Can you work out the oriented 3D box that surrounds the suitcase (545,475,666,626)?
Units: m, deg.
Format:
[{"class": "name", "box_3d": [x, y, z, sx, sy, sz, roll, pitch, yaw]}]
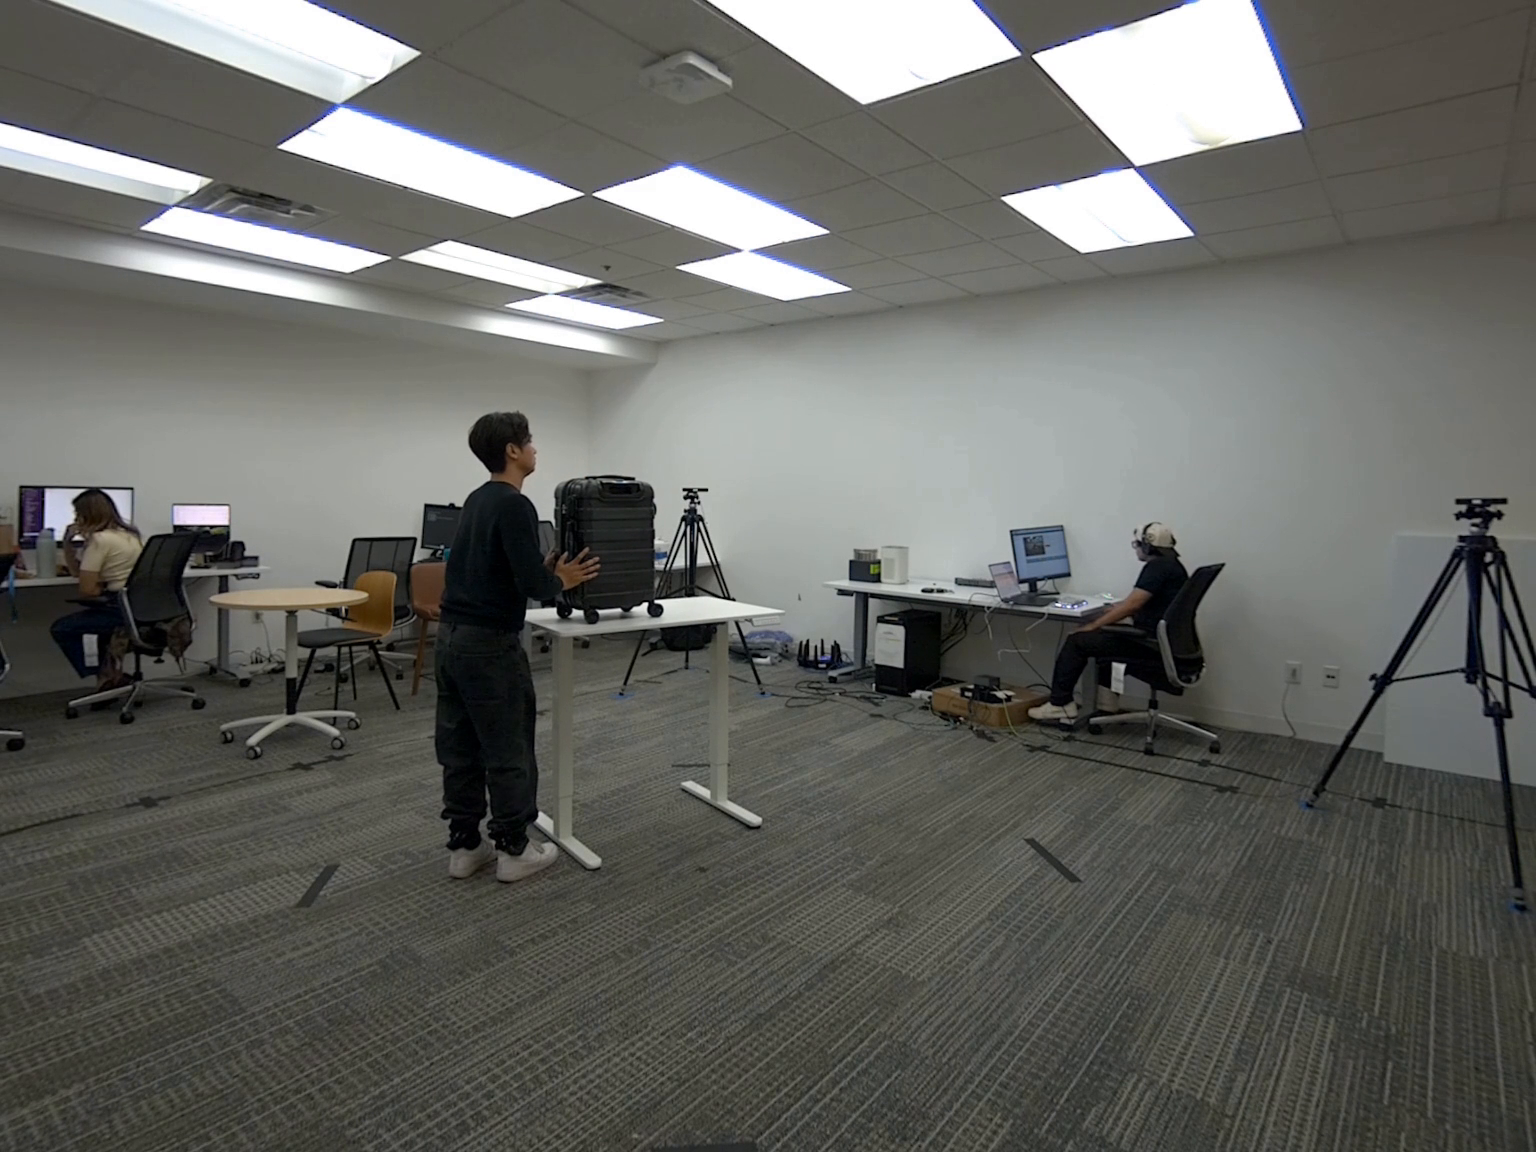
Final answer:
[{"class": "suitcase", "box_3d": [-0.640, -0.116, 3.311, 0.364, 0.548, 0.256, -5, 4, -42]}]
